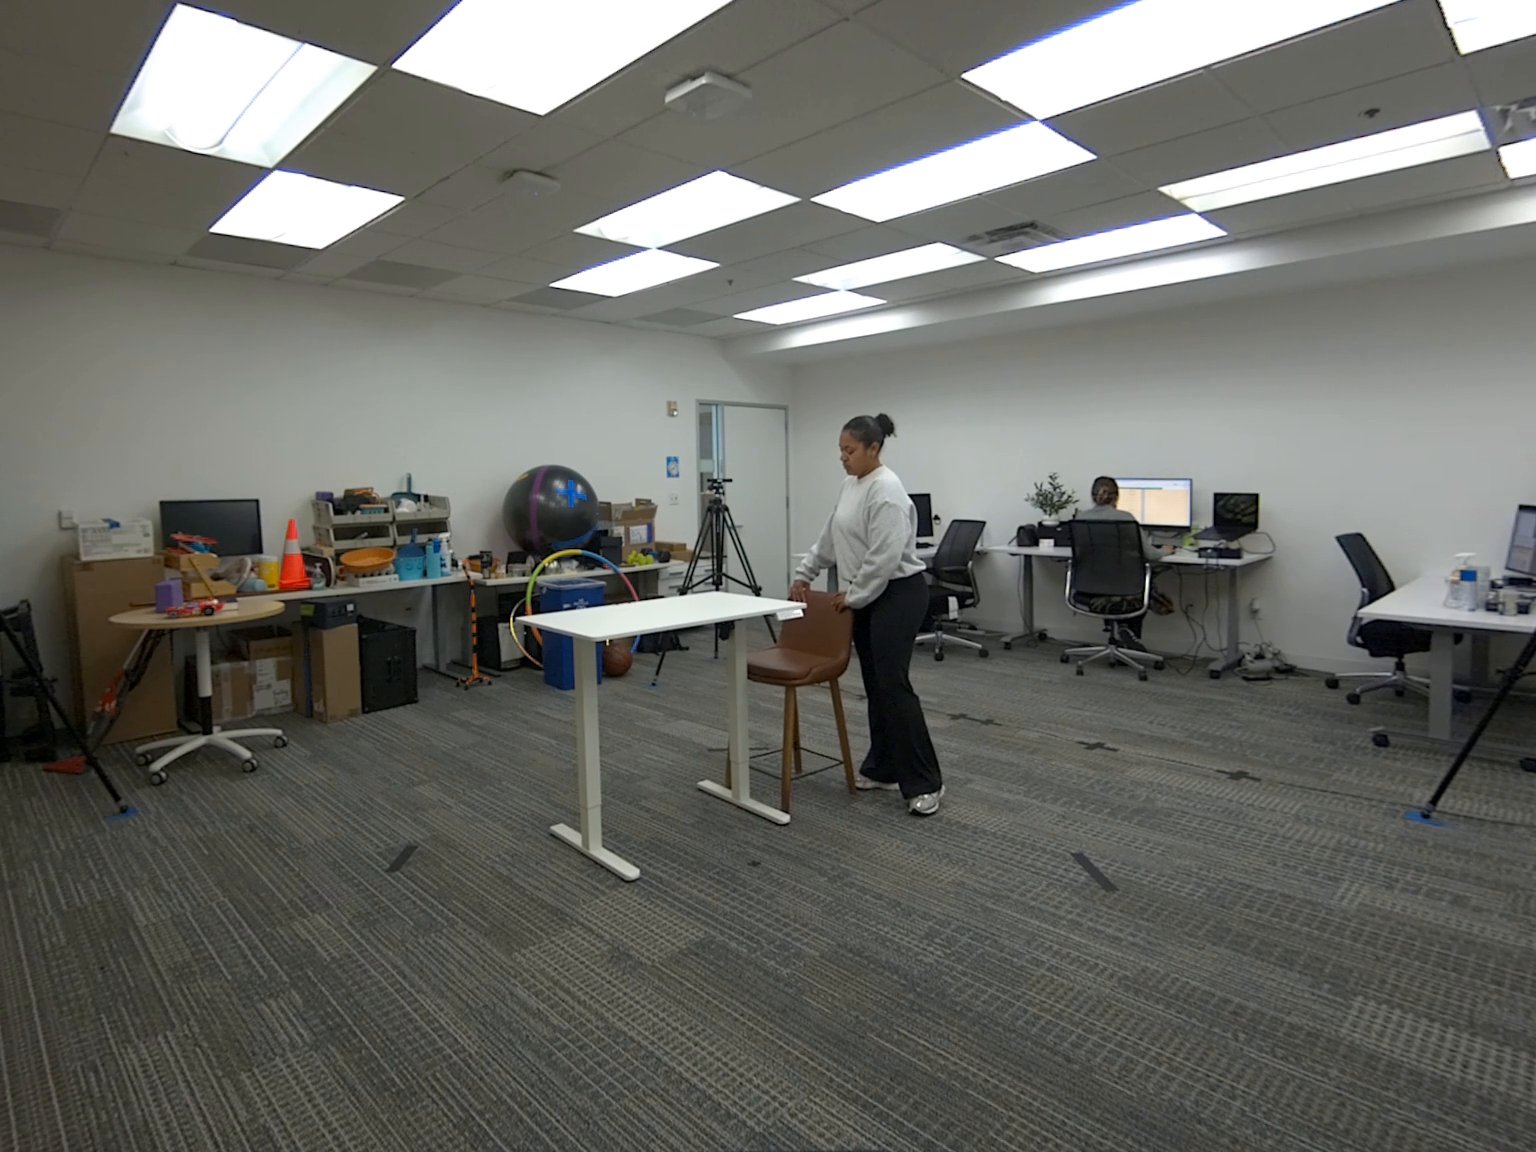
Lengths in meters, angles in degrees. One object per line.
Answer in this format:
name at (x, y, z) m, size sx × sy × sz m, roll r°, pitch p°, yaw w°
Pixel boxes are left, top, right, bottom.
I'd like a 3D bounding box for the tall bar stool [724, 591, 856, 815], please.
tall bar stool at (0.105, 0.525, 3.780) m, size 0.455 × 0.888 × 0.470 m, roll -1°, pitch 3°, yaw -40°
